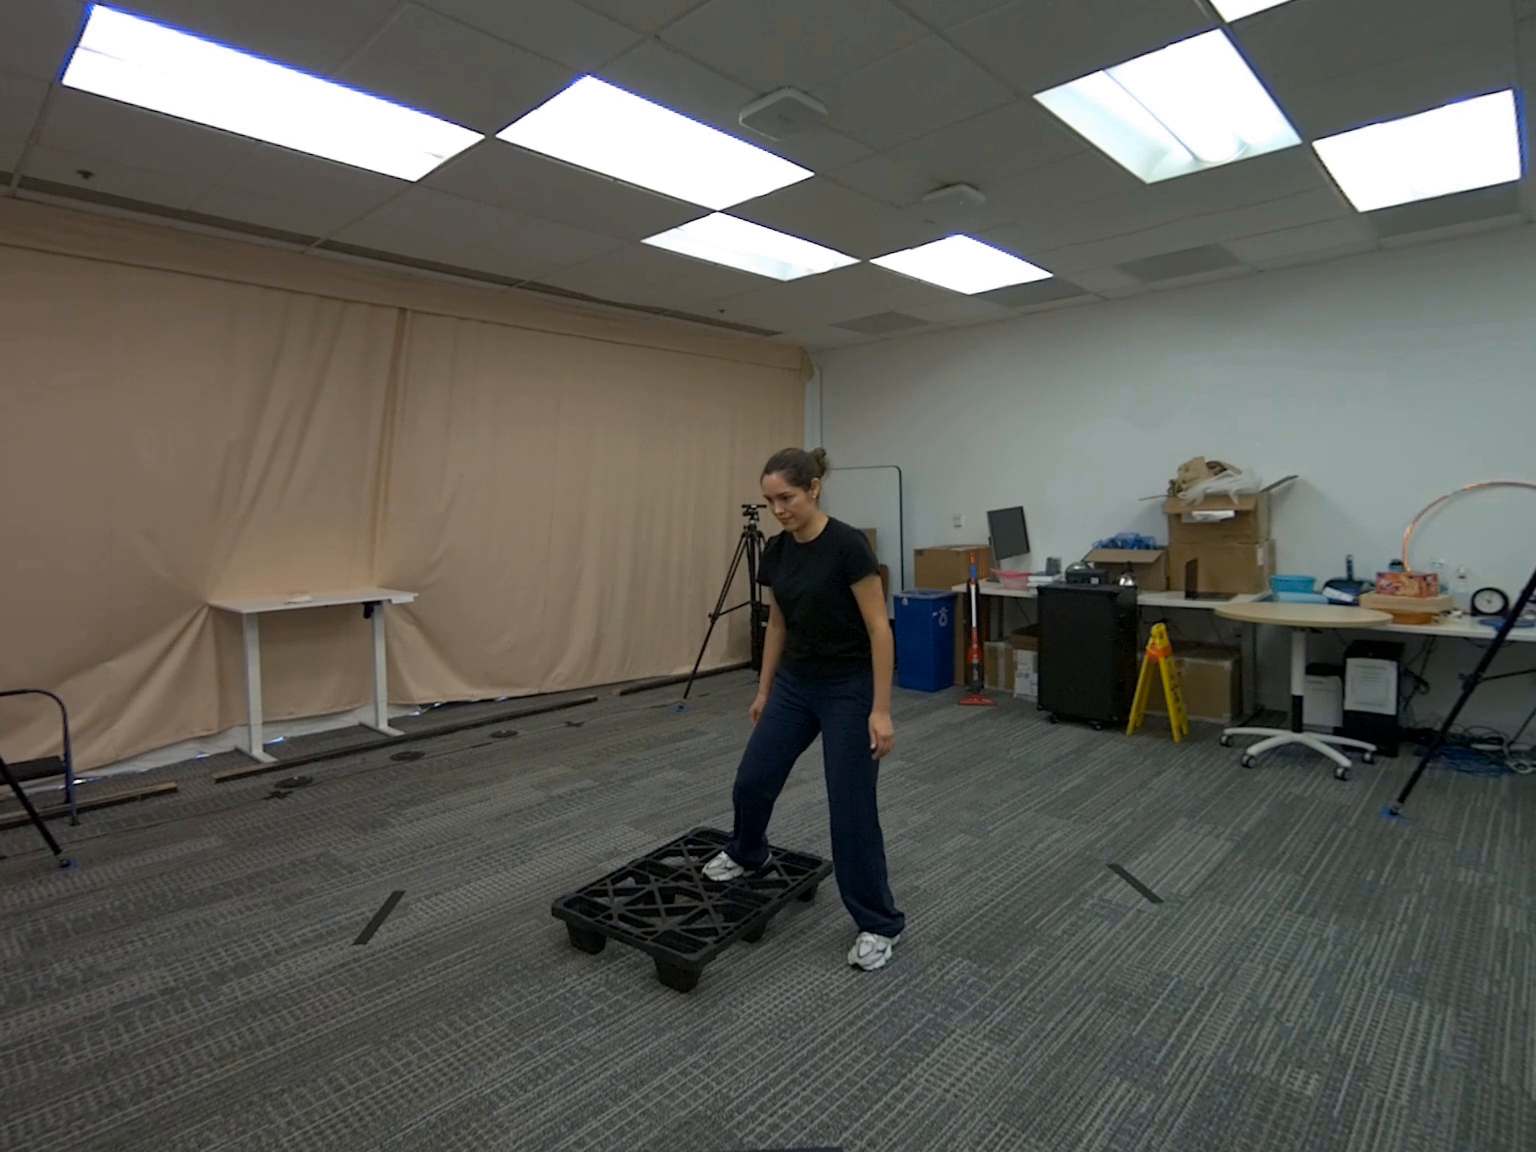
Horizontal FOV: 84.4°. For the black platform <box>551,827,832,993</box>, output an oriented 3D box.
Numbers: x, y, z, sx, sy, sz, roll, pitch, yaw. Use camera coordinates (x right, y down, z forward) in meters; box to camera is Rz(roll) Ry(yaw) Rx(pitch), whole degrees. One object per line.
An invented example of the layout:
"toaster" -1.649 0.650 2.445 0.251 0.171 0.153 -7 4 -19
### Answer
"black platform" -0.210 1.091 2.829 0.624 0.143 0.783 3 7 34
